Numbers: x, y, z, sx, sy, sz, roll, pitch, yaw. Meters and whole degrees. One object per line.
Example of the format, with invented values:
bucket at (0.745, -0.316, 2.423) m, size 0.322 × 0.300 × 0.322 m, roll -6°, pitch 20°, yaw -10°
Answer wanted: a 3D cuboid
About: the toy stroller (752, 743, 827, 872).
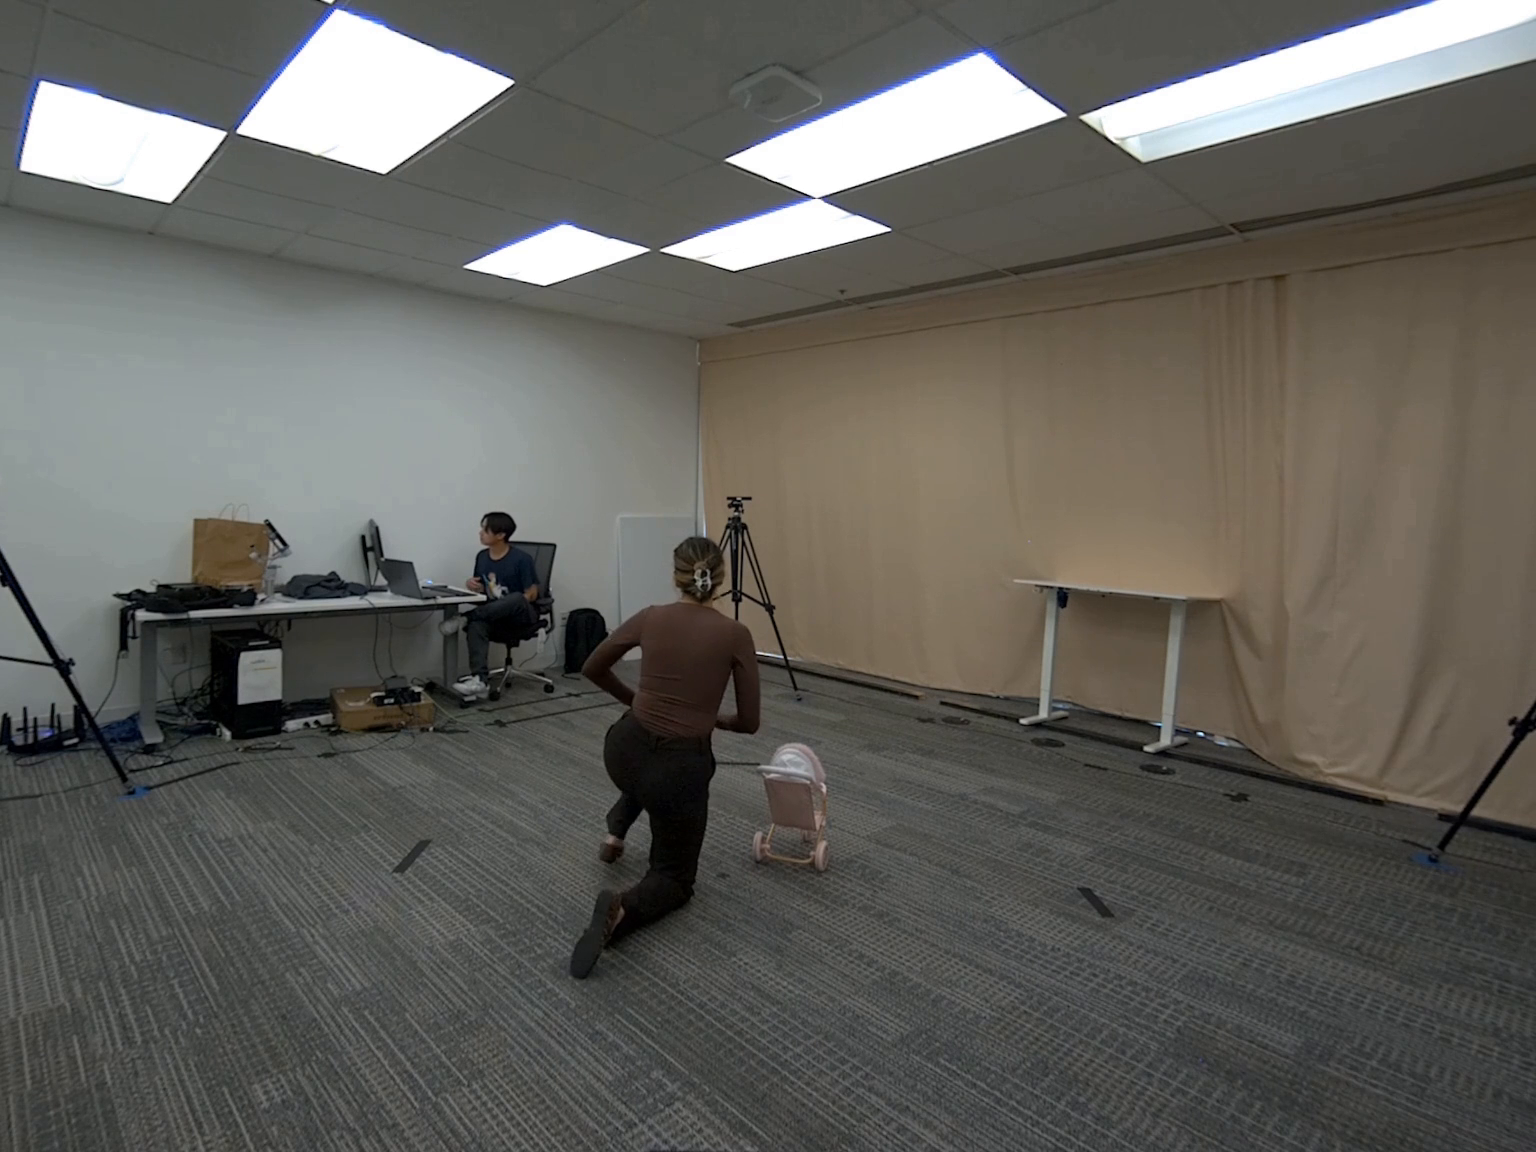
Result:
toy stroller at (0.097, 0.874, 3.249) m, size 0.286 × 0.527 × 0.340 m, roll 3°, pitch 21°, yaw 21°
